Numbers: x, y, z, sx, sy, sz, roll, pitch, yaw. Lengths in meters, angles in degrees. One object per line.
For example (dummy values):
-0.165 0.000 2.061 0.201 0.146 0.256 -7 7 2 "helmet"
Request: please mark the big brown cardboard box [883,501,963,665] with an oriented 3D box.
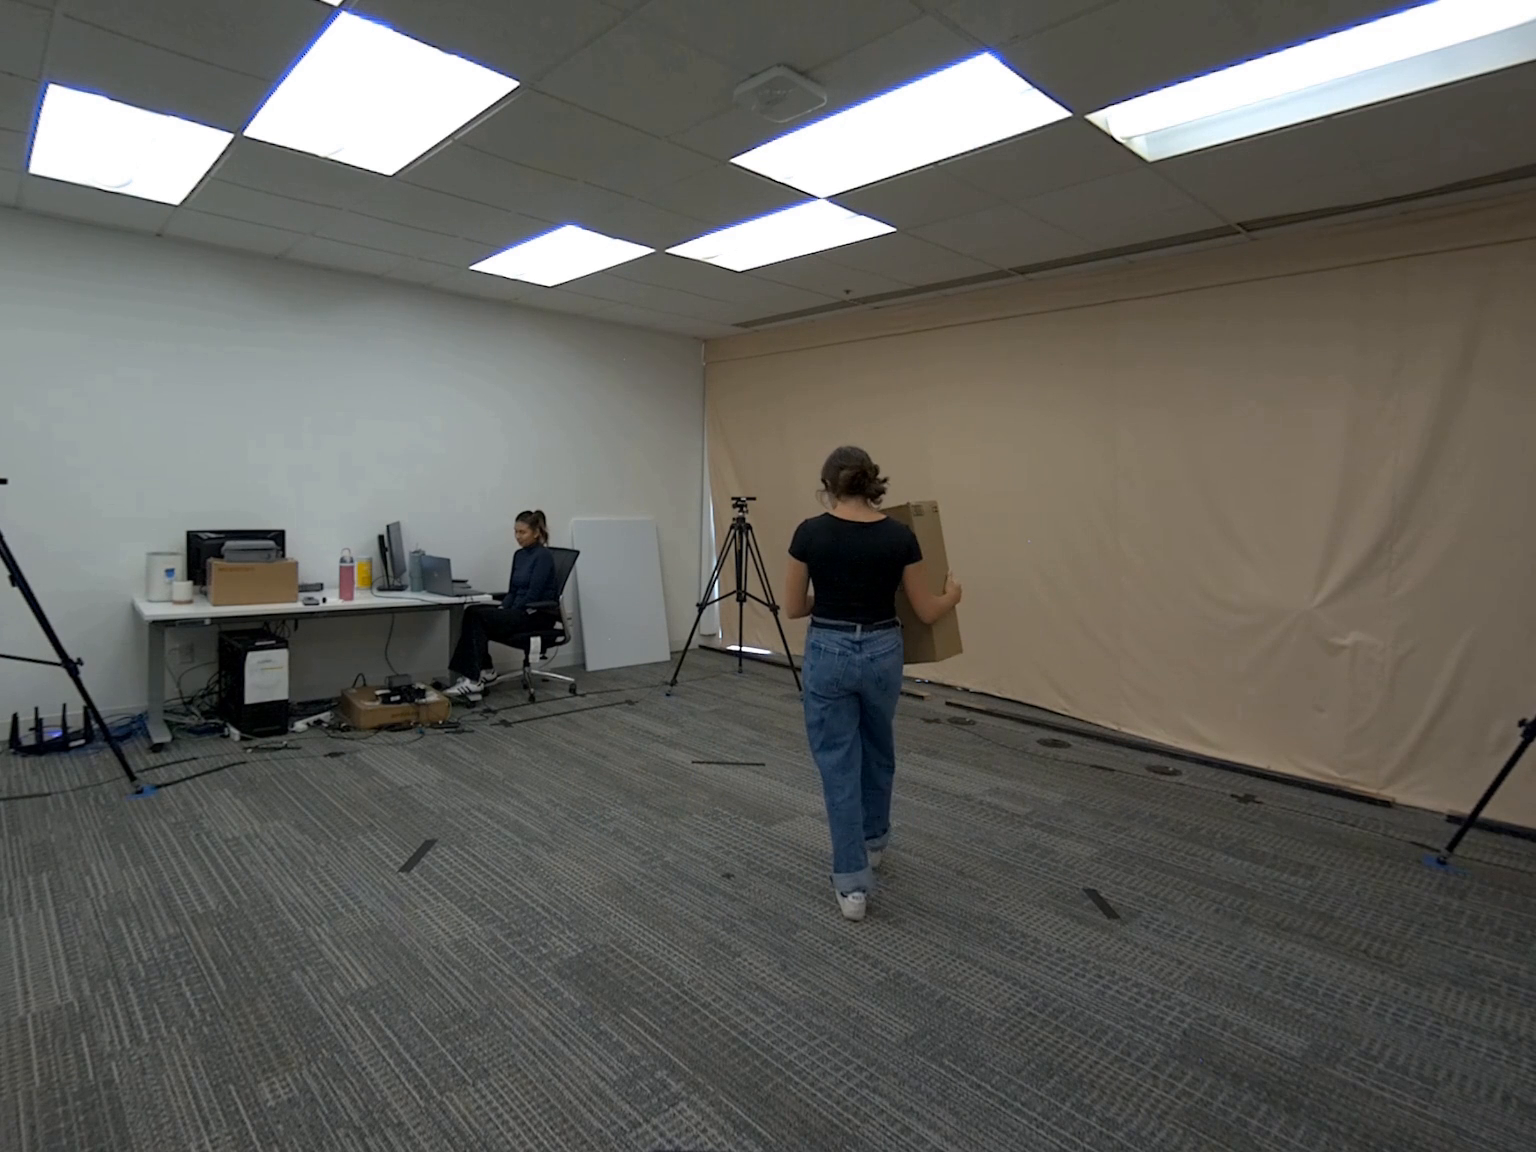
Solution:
0.438 0.036 3.137 0.425 0.591 0.228 -11 -4 38 "big brown cardboard box"
